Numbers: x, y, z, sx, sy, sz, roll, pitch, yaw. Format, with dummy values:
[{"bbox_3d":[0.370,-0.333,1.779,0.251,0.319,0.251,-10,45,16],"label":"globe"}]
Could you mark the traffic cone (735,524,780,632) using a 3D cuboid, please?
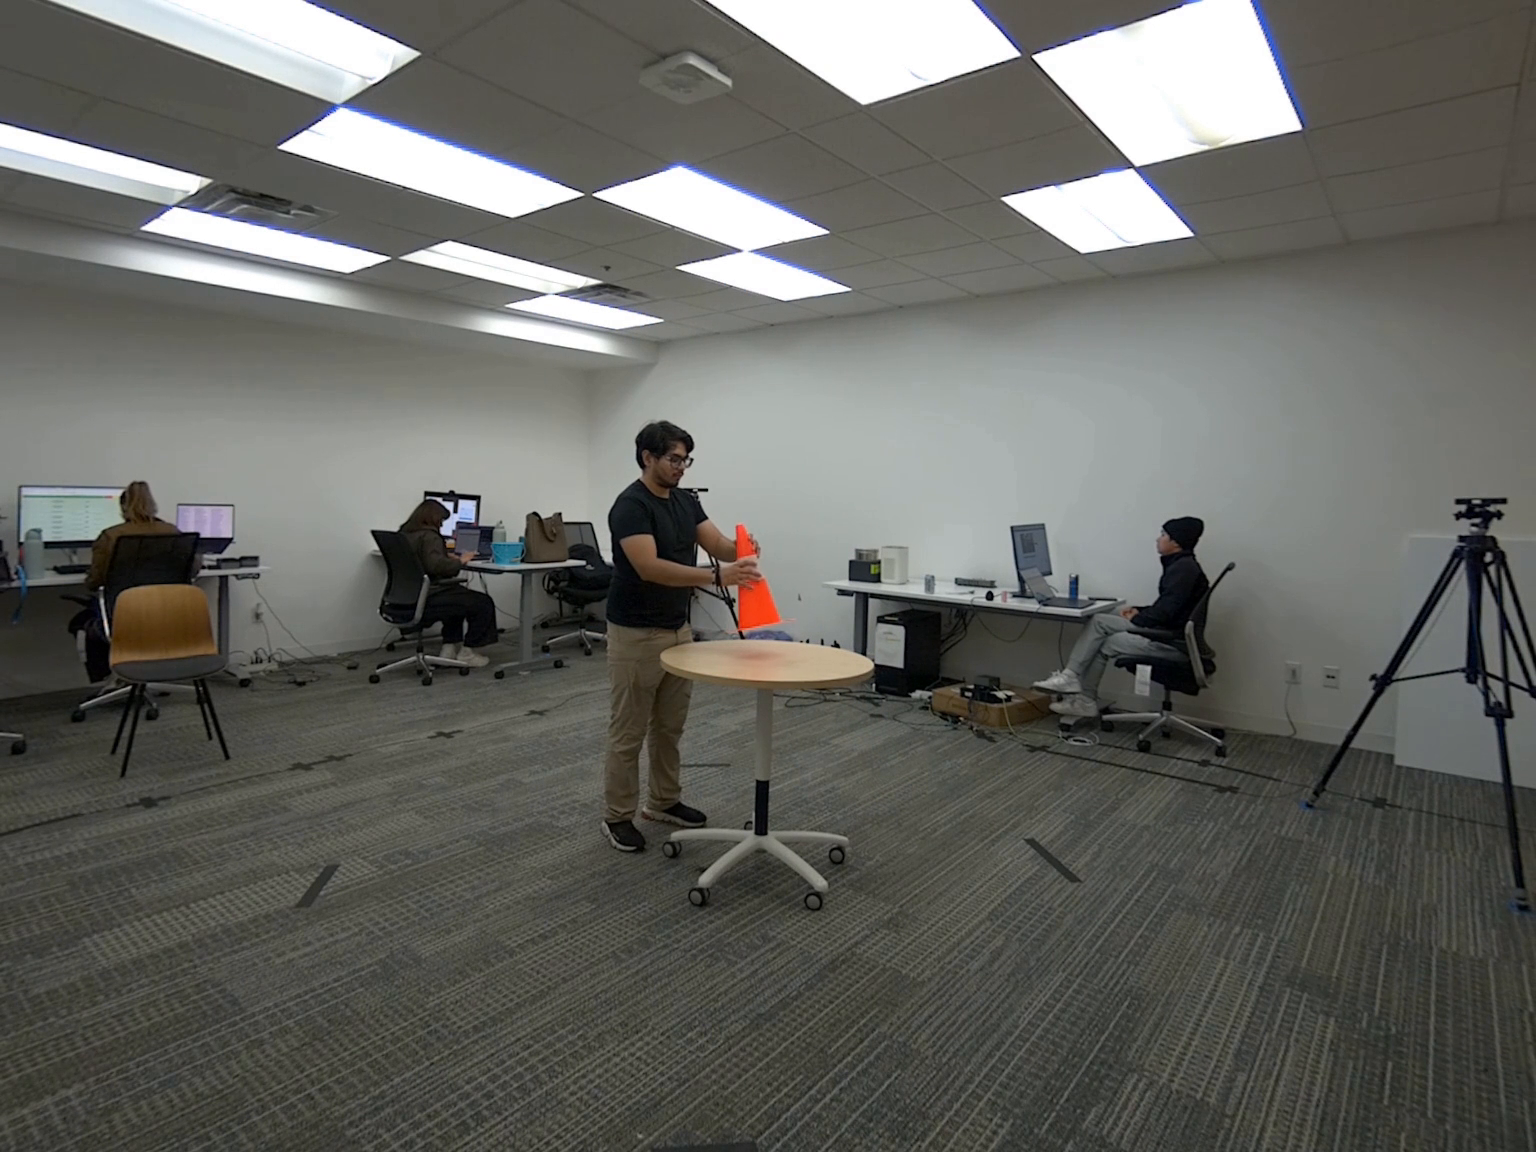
[{"bbox_3d":[-0.069,0.000,3.121,0.210,0.385,0.198,-11,-3,31],"label":"traffic cone"}]
